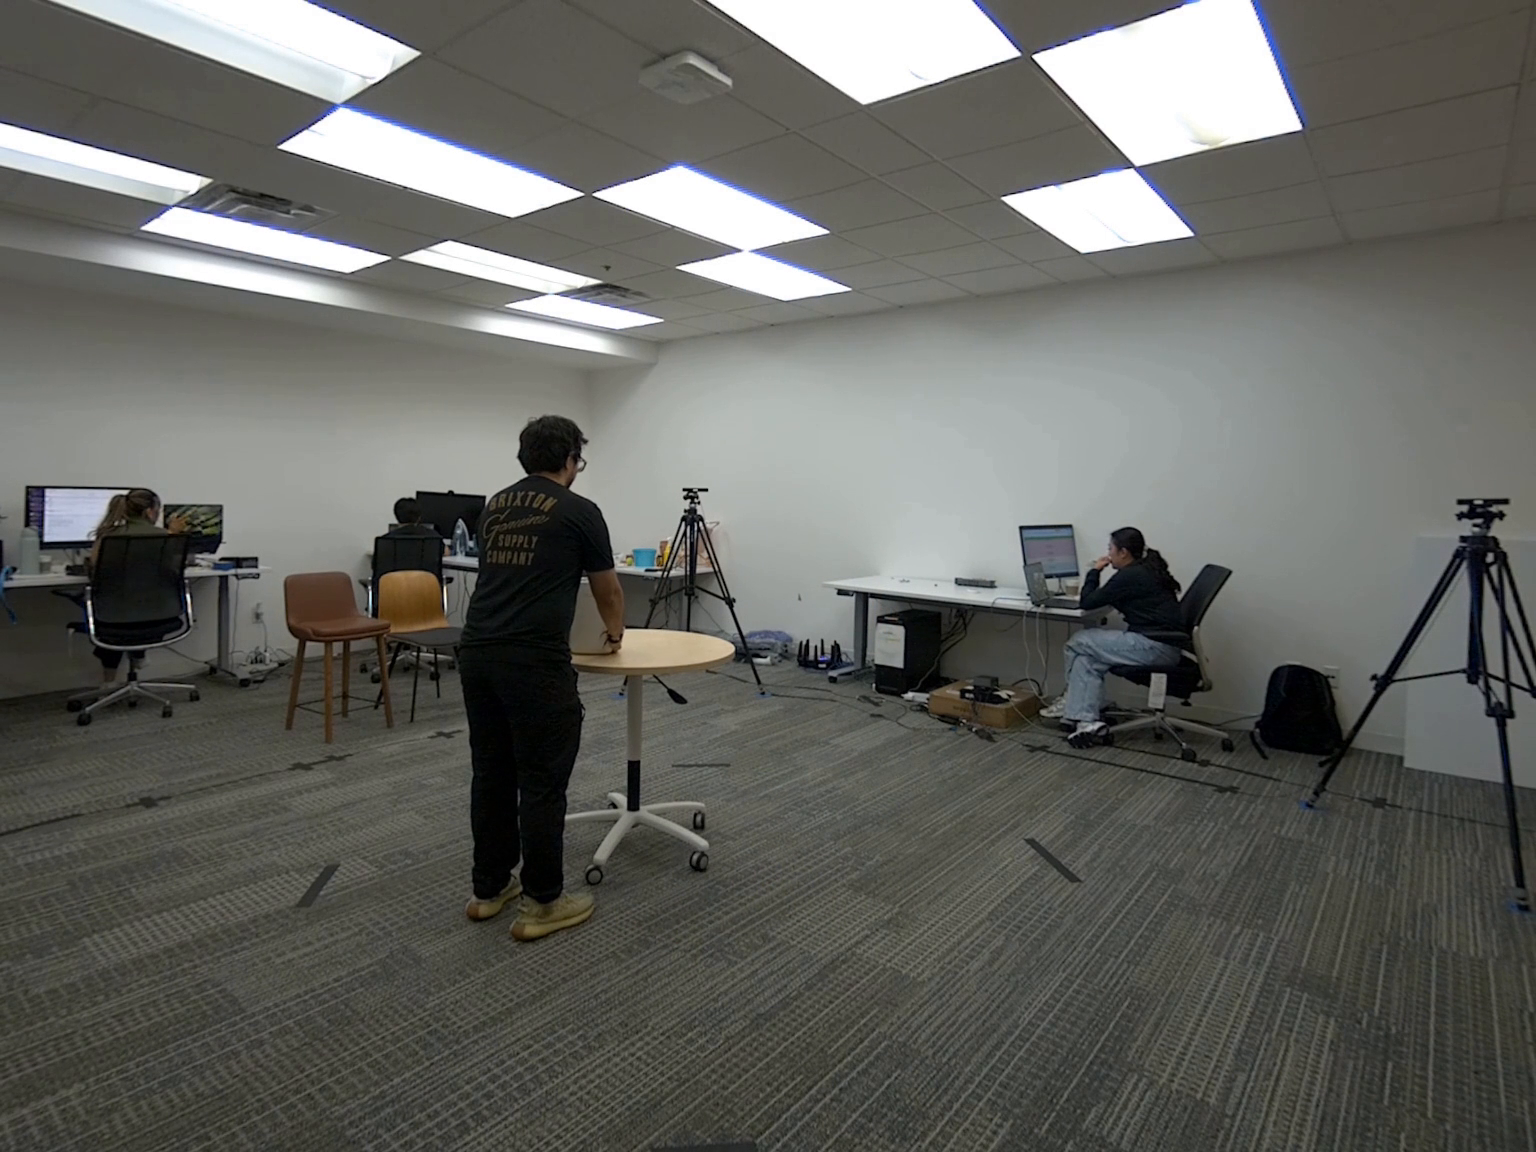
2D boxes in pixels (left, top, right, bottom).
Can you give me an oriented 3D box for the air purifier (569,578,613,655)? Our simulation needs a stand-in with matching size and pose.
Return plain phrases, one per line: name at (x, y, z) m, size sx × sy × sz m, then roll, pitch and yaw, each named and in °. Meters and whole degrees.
air purifier at (-0.652, 0.143, 3.154) m, size 0.171 × 0.265 × 0.172 m, roll 2°, pitch 1°, yaw -3°
